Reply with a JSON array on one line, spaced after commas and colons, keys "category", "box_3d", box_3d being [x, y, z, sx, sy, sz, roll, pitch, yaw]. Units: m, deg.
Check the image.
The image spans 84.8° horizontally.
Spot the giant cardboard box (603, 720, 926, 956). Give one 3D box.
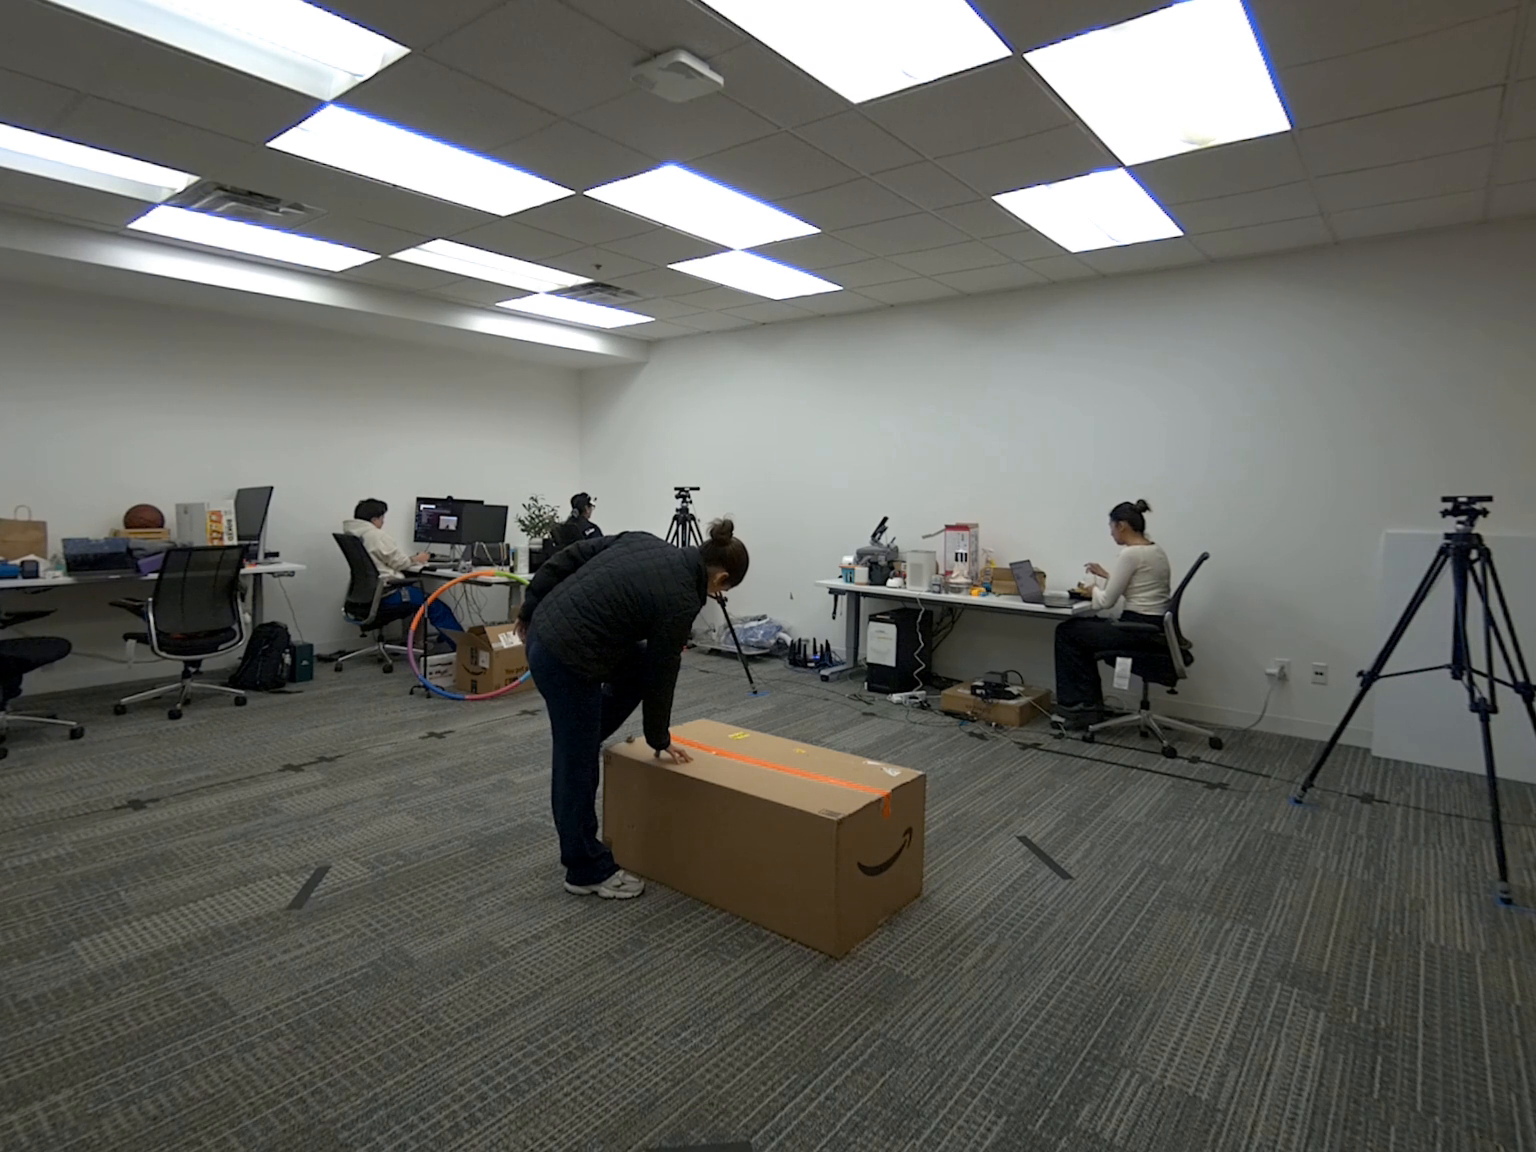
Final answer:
[{"category": "giant cardboard box", "box_3d": [-0.021, 0.866, 3.061, 1.062, 0.445, 0.567, 6, 8, 39]}]
